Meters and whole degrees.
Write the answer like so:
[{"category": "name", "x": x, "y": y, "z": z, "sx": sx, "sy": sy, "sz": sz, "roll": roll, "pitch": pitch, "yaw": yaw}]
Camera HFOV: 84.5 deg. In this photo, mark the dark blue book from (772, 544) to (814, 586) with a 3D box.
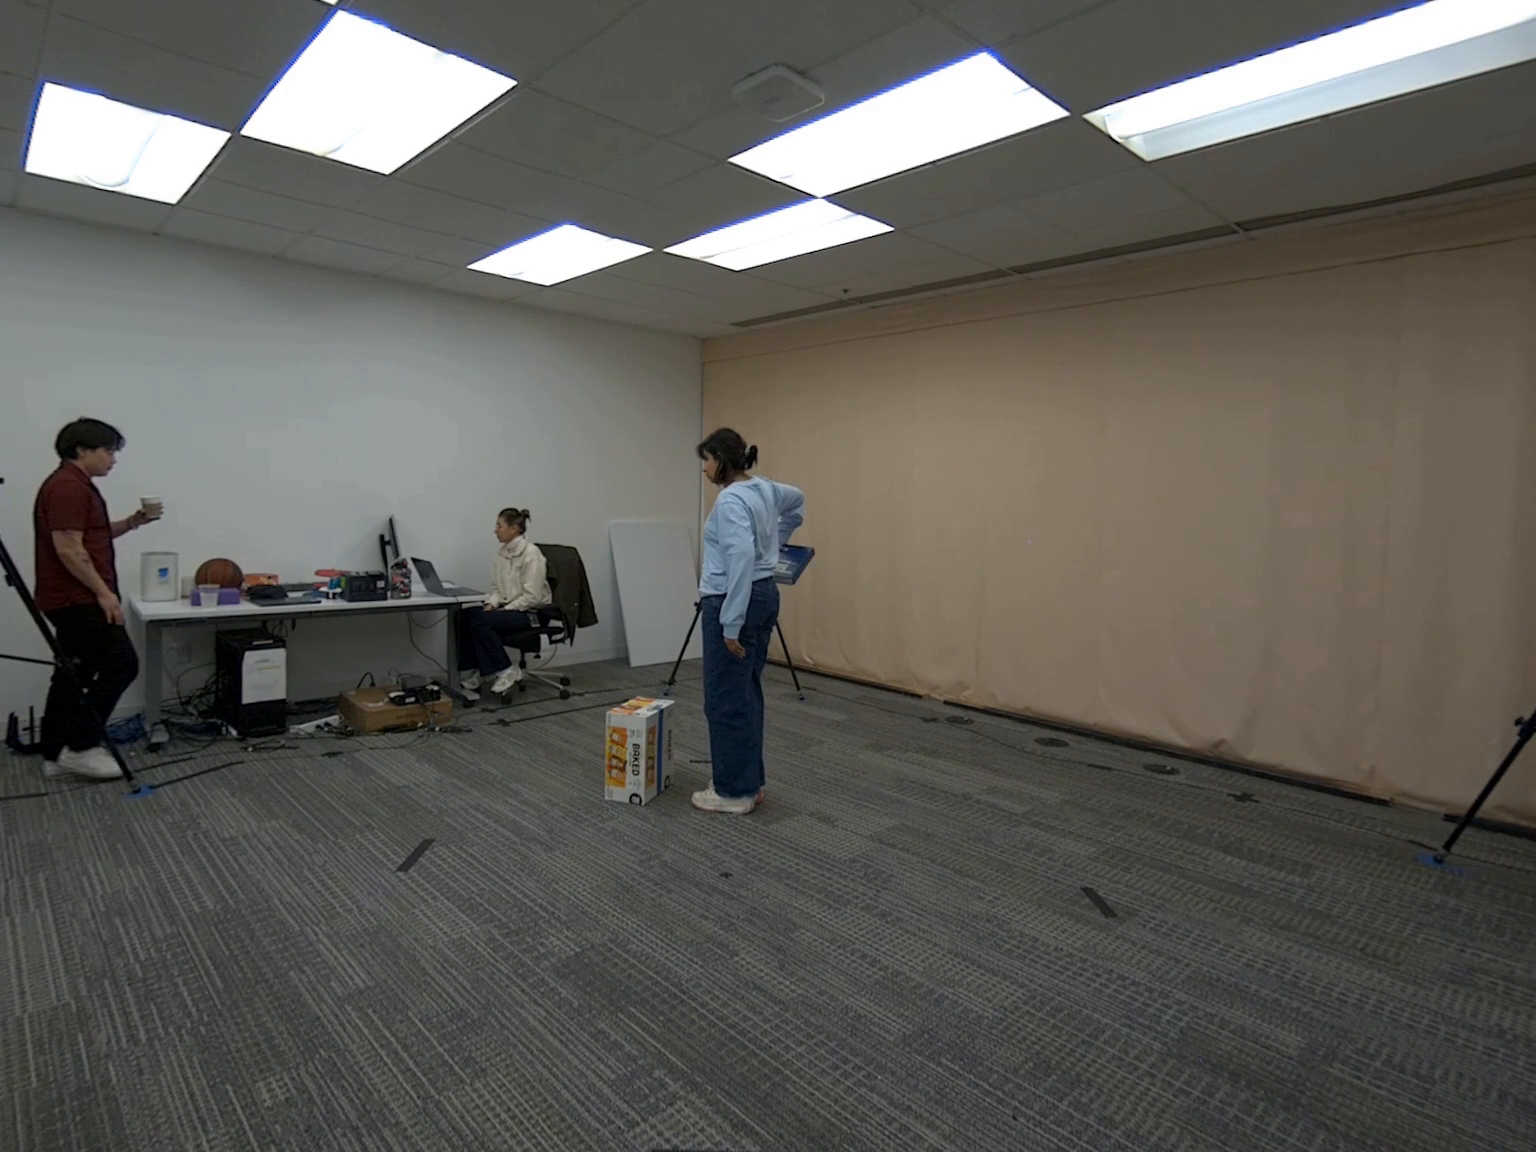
[{"category": "dark blue book", "x": 0.082, "y": -0.058, "z": 4.067, "sx": 0.167, "sy": 0.044, "sz": 0.245, "roll": 7, "pitch": 40, "yaw": 32}]
